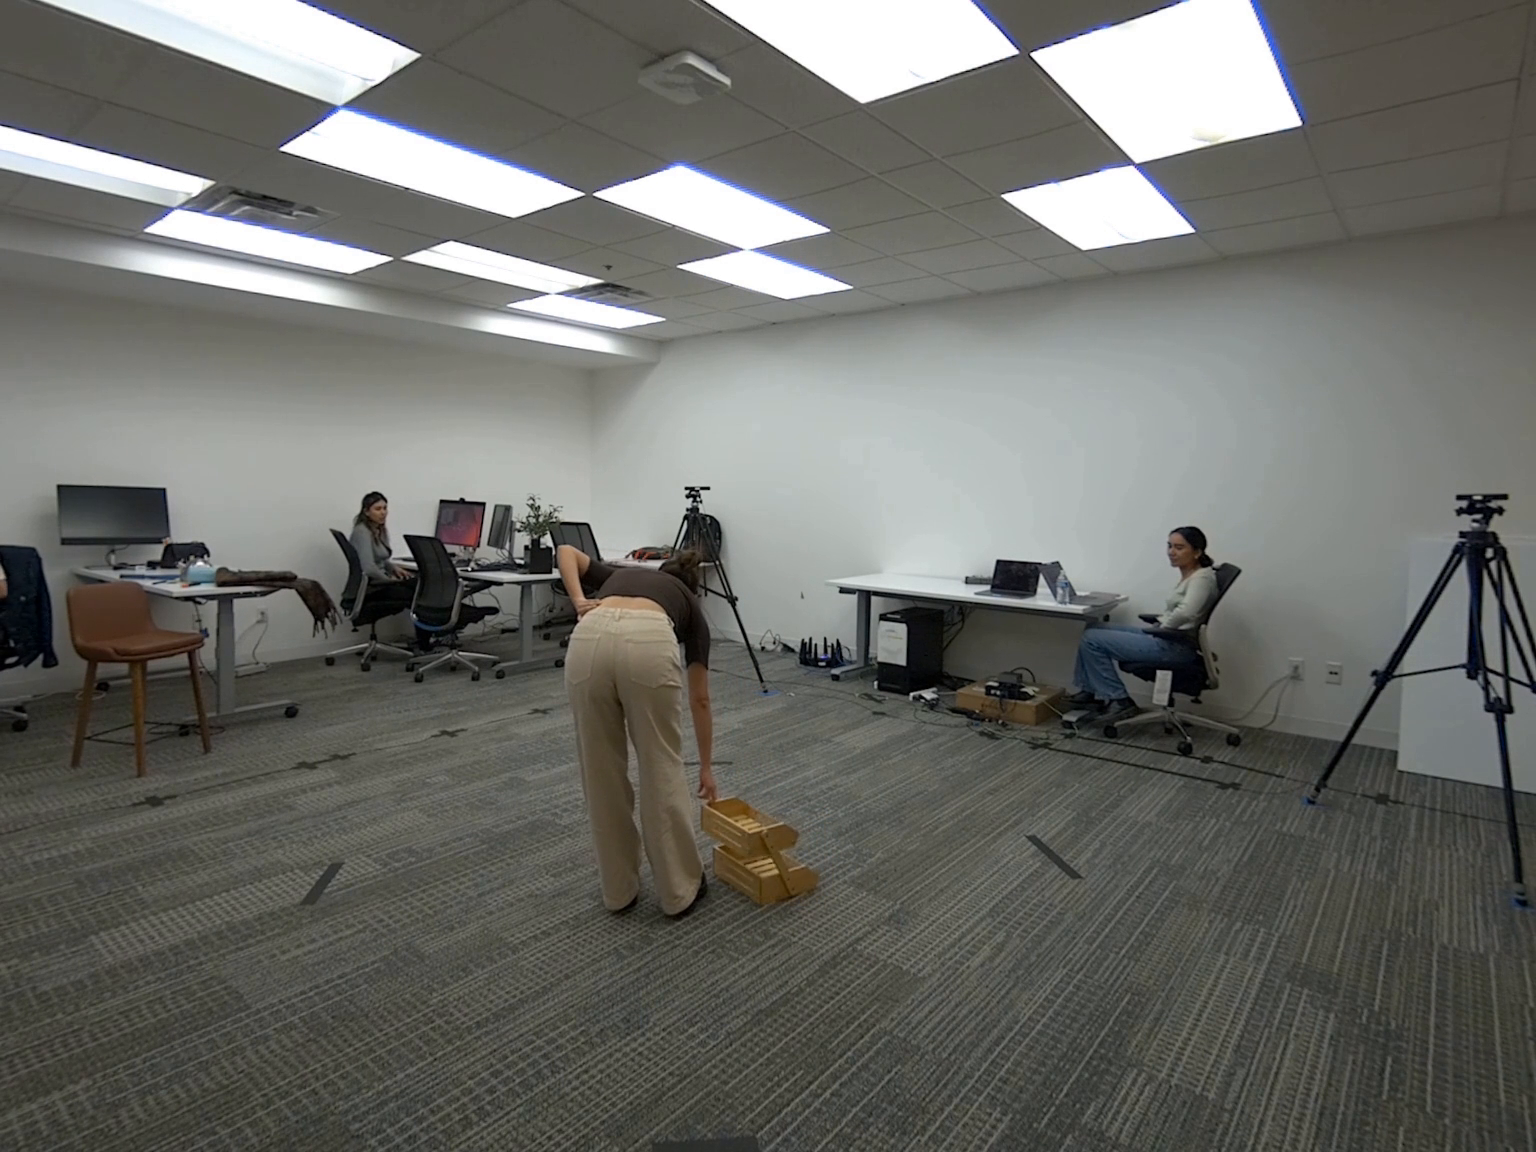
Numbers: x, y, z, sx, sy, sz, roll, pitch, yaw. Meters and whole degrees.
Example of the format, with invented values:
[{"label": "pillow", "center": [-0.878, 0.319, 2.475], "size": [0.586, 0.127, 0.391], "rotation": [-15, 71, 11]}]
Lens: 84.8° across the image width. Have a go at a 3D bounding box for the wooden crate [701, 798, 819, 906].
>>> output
[{"label": "wooden crate", "center": [-0.040, 0.945, 3.000], "size": [0.293, 0.272, 0.335], "rotation": [-4, 6, -35]}]
